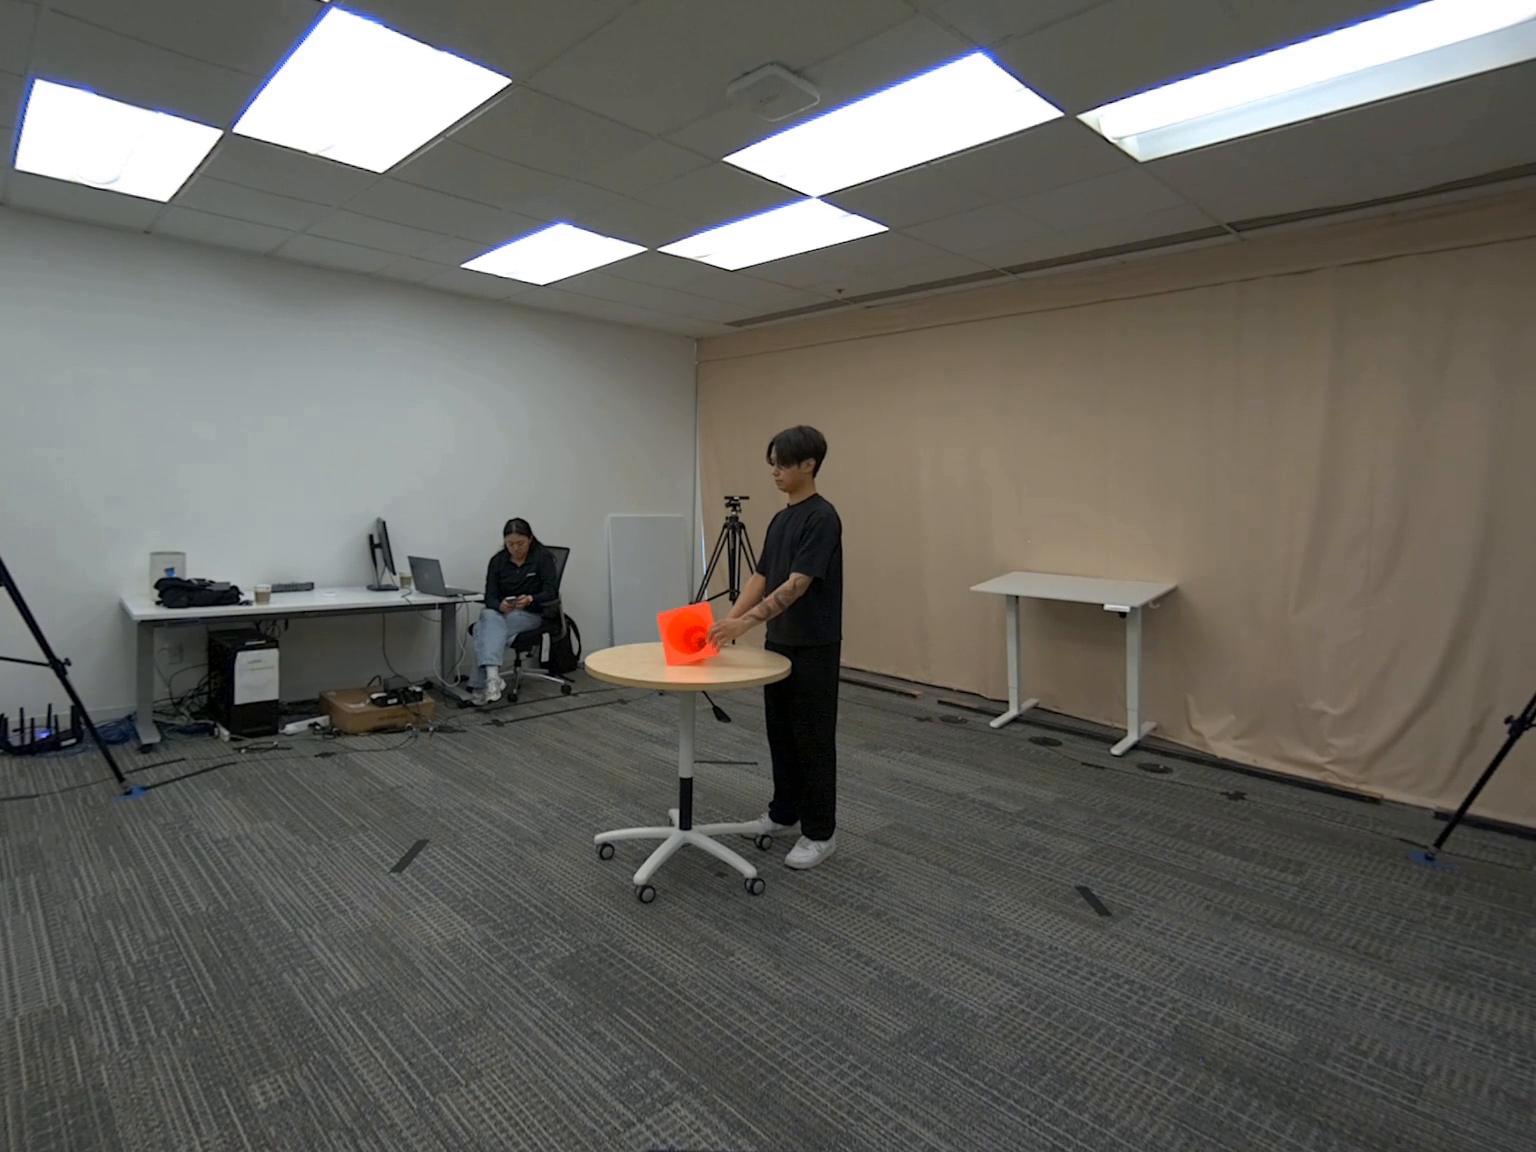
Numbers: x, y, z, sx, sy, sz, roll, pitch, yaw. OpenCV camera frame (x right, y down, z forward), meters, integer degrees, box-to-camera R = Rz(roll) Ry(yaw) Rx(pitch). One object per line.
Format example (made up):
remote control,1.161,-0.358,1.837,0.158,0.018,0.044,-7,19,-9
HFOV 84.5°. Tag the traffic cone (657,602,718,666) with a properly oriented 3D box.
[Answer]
traffic cone,-0.292,0.235,3.234,0.203,0.206,0.381,-14,-7,-2
